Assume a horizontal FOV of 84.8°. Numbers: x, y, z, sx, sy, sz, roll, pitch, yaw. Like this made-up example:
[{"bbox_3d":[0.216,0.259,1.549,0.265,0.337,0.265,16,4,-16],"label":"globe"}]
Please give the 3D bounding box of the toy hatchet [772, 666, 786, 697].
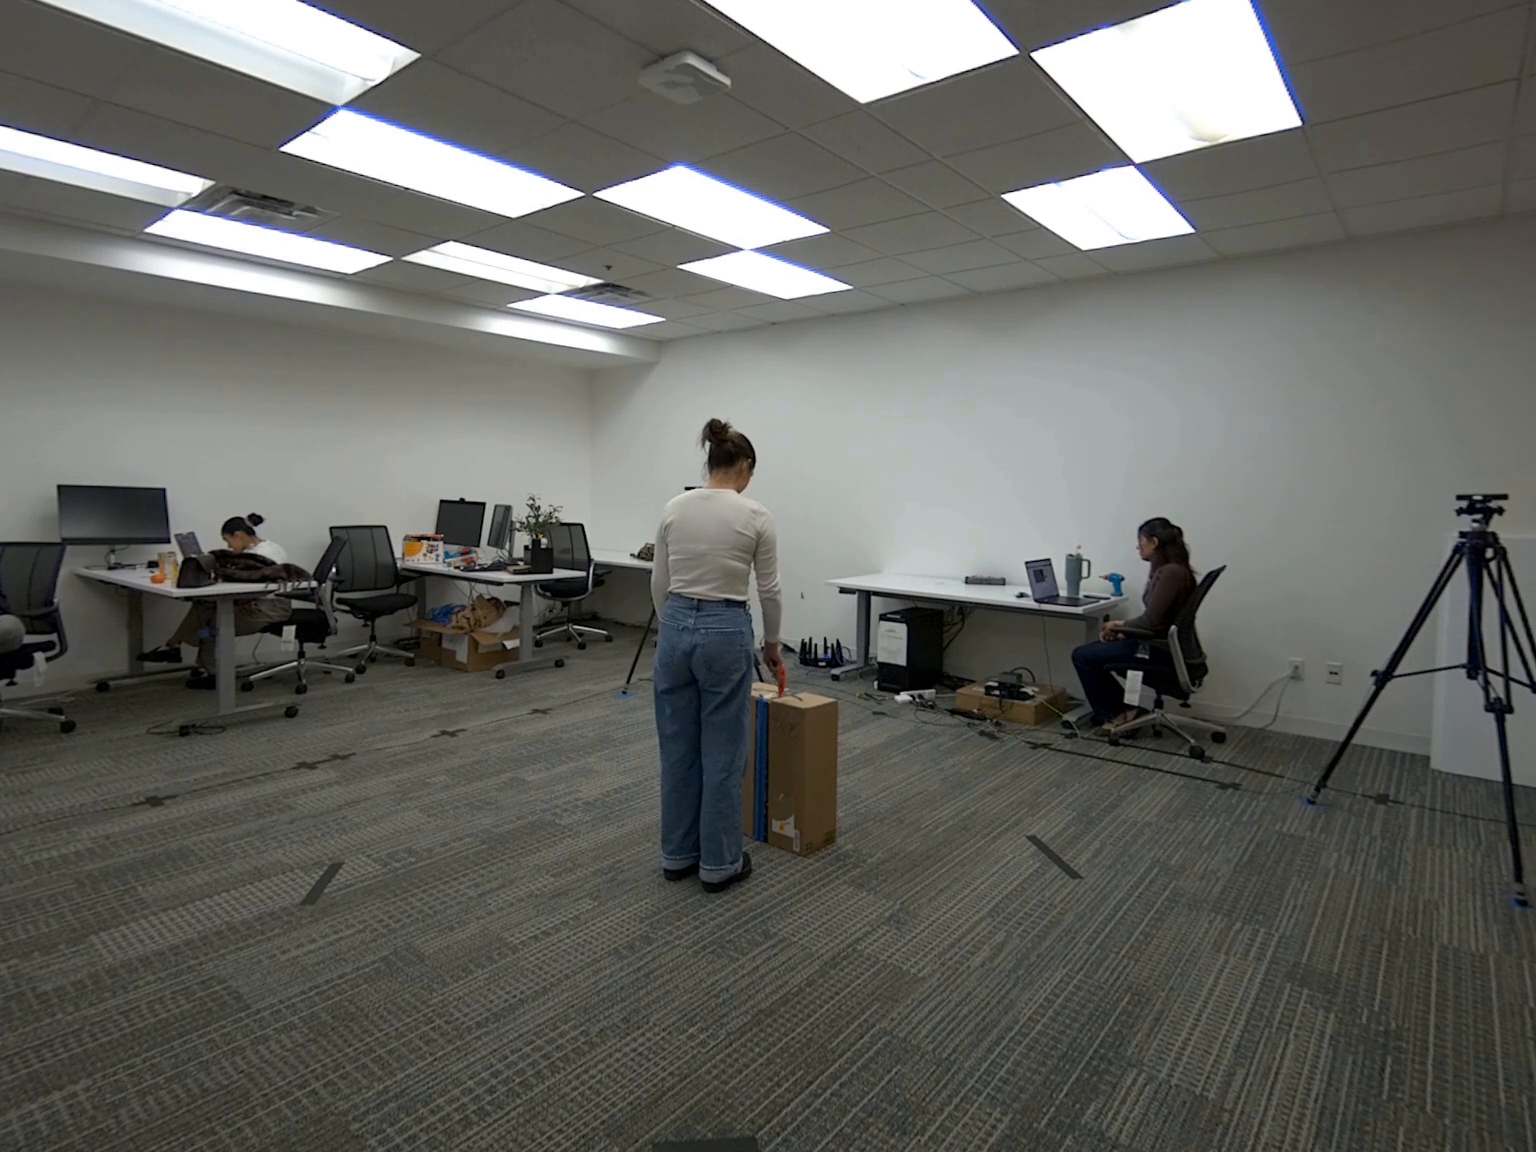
[{"bbox_3d":[0.038,0.345,3.271,0.030,0.134,0.261,2,-33,12],"label":"toy hatchet"}]
